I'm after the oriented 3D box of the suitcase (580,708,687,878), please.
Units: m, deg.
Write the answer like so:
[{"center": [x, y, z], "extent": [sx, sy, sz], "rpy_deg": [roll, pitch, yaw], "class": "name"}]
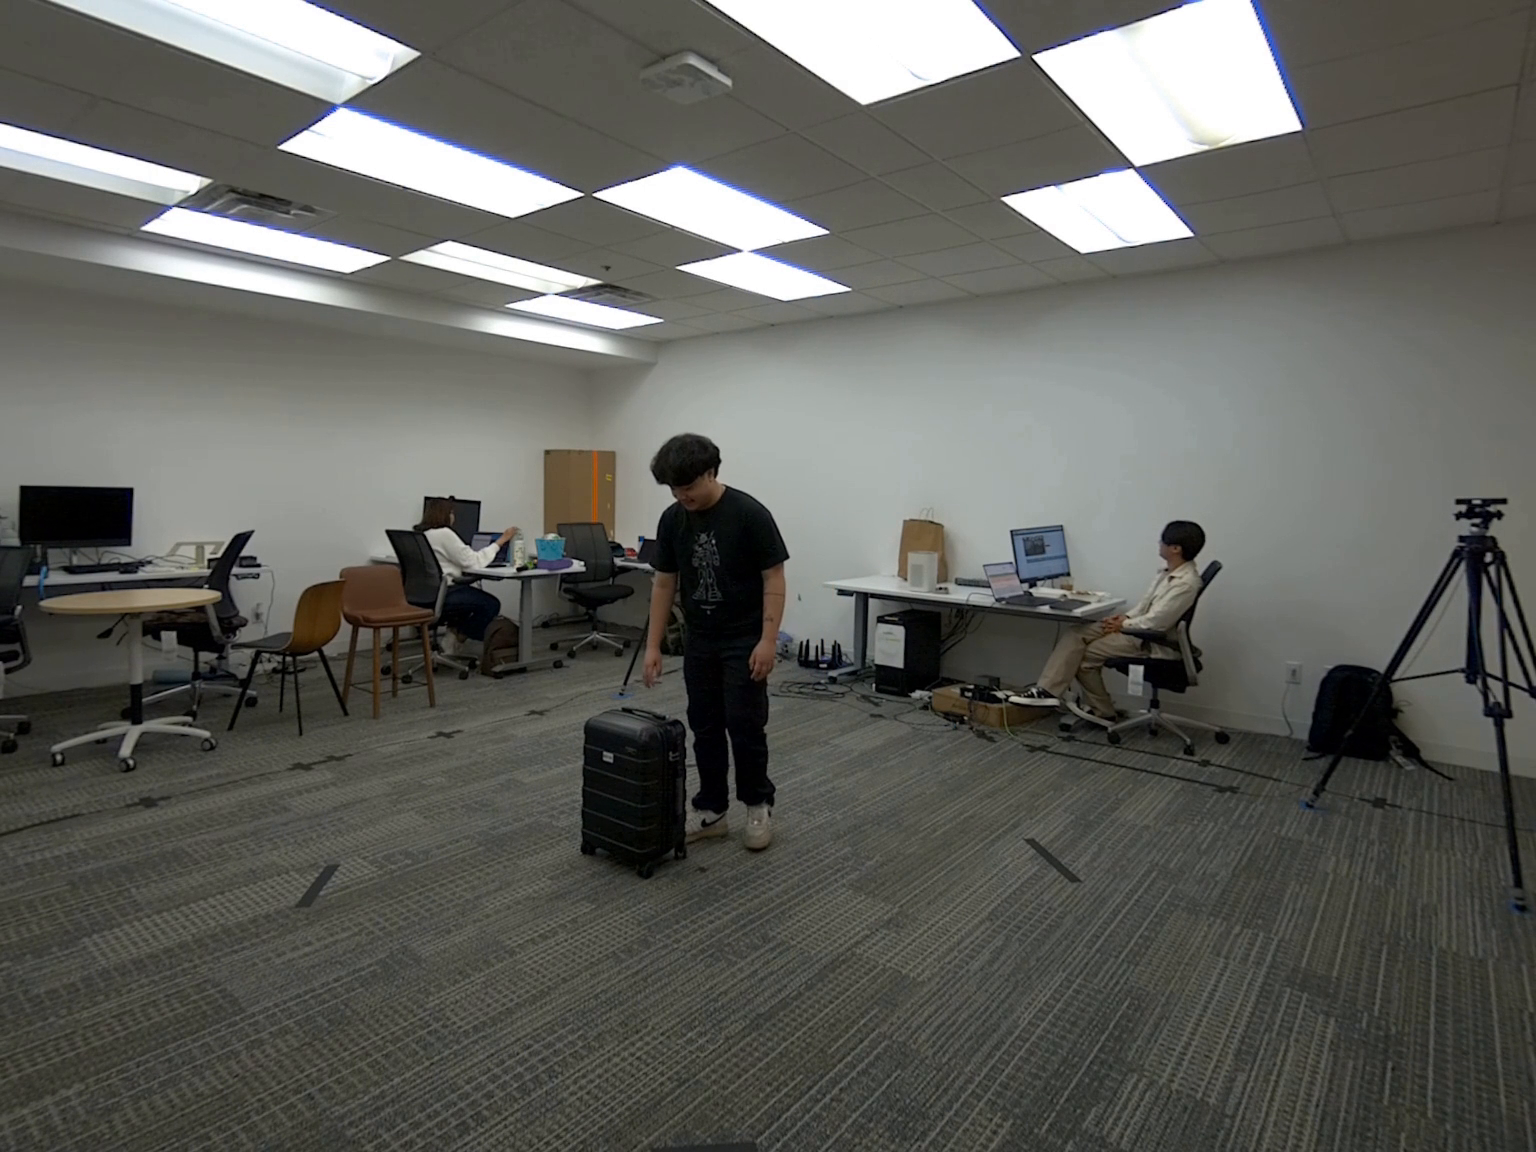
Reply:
[{"center": [-0.511, 0.783, 3.182], "extent": [0.388, 0.547, 0.241], "rpy_deg": [5, 6, 38], "class": "suitcase"}]
